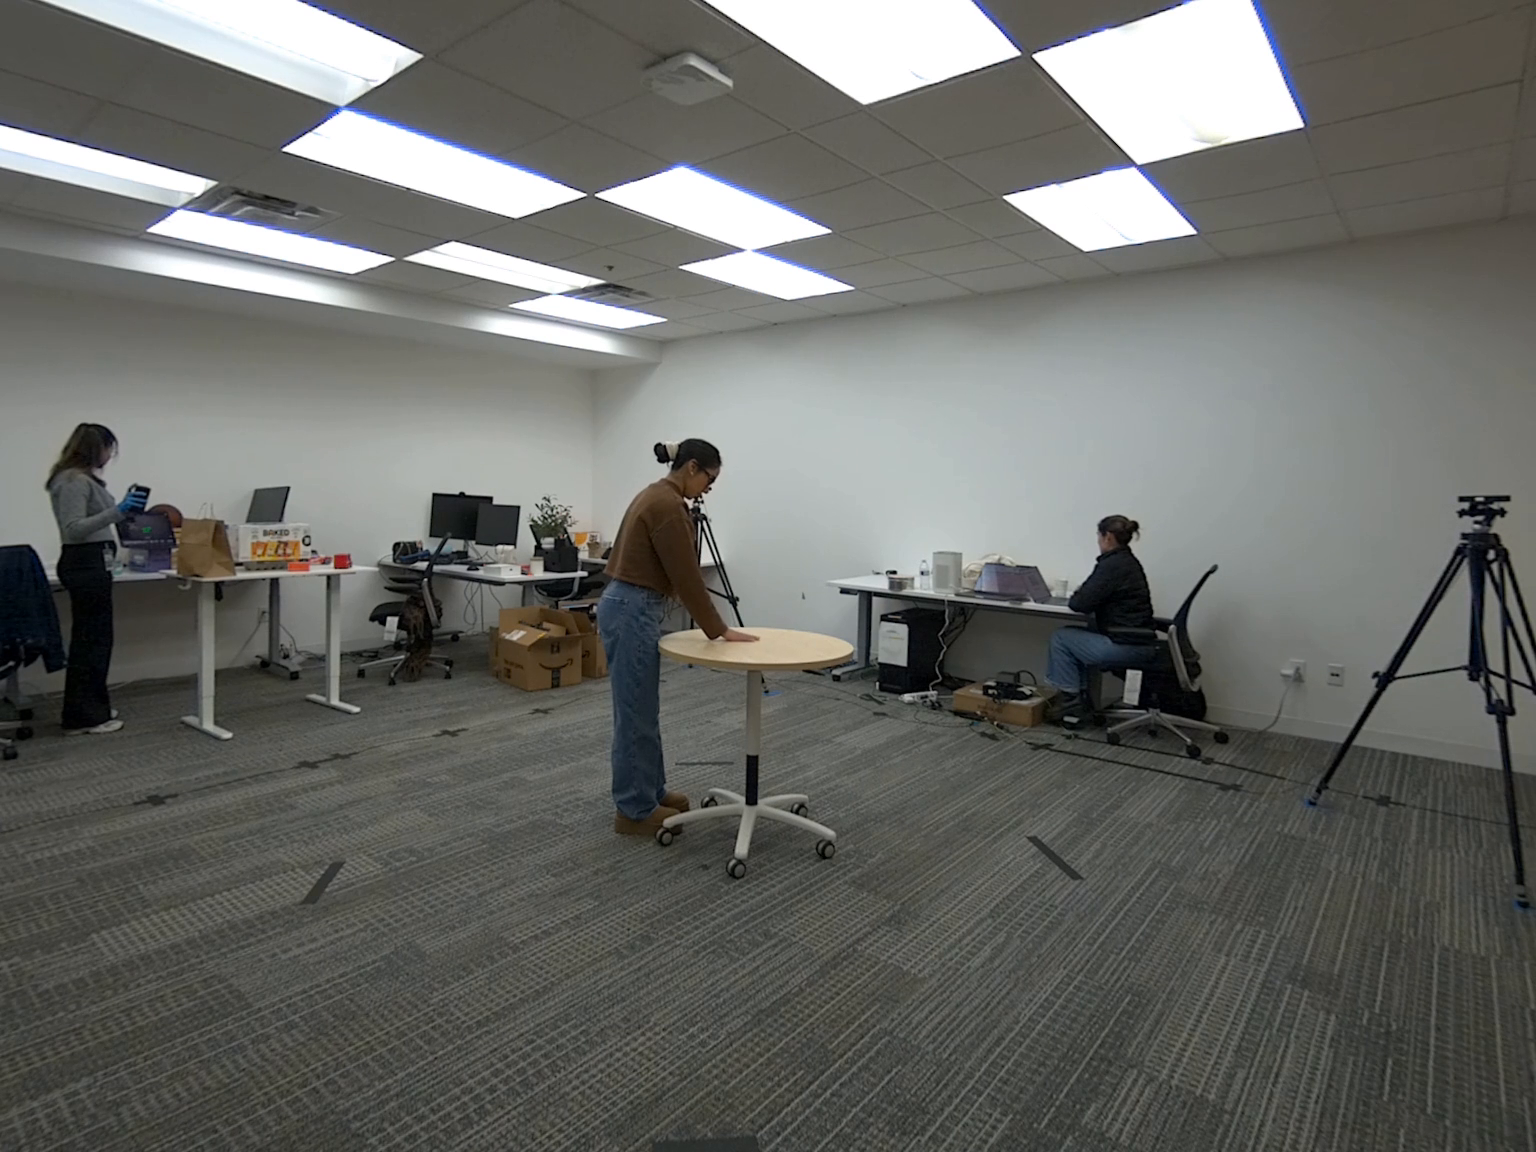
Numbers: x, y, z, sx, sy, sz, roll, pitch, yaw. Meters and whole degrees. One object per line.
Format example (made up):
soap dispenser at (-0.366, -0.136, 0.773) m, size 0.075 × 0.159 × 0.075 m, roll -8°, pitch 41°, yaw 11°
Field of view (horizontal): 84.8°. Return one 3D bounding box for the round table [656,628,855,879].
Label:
round table at (-0.067, 0.656, 3.363) m, size 0.763 × 0.791 × 0.768 m, roll 1°, pitch 4°, yaw -2°
